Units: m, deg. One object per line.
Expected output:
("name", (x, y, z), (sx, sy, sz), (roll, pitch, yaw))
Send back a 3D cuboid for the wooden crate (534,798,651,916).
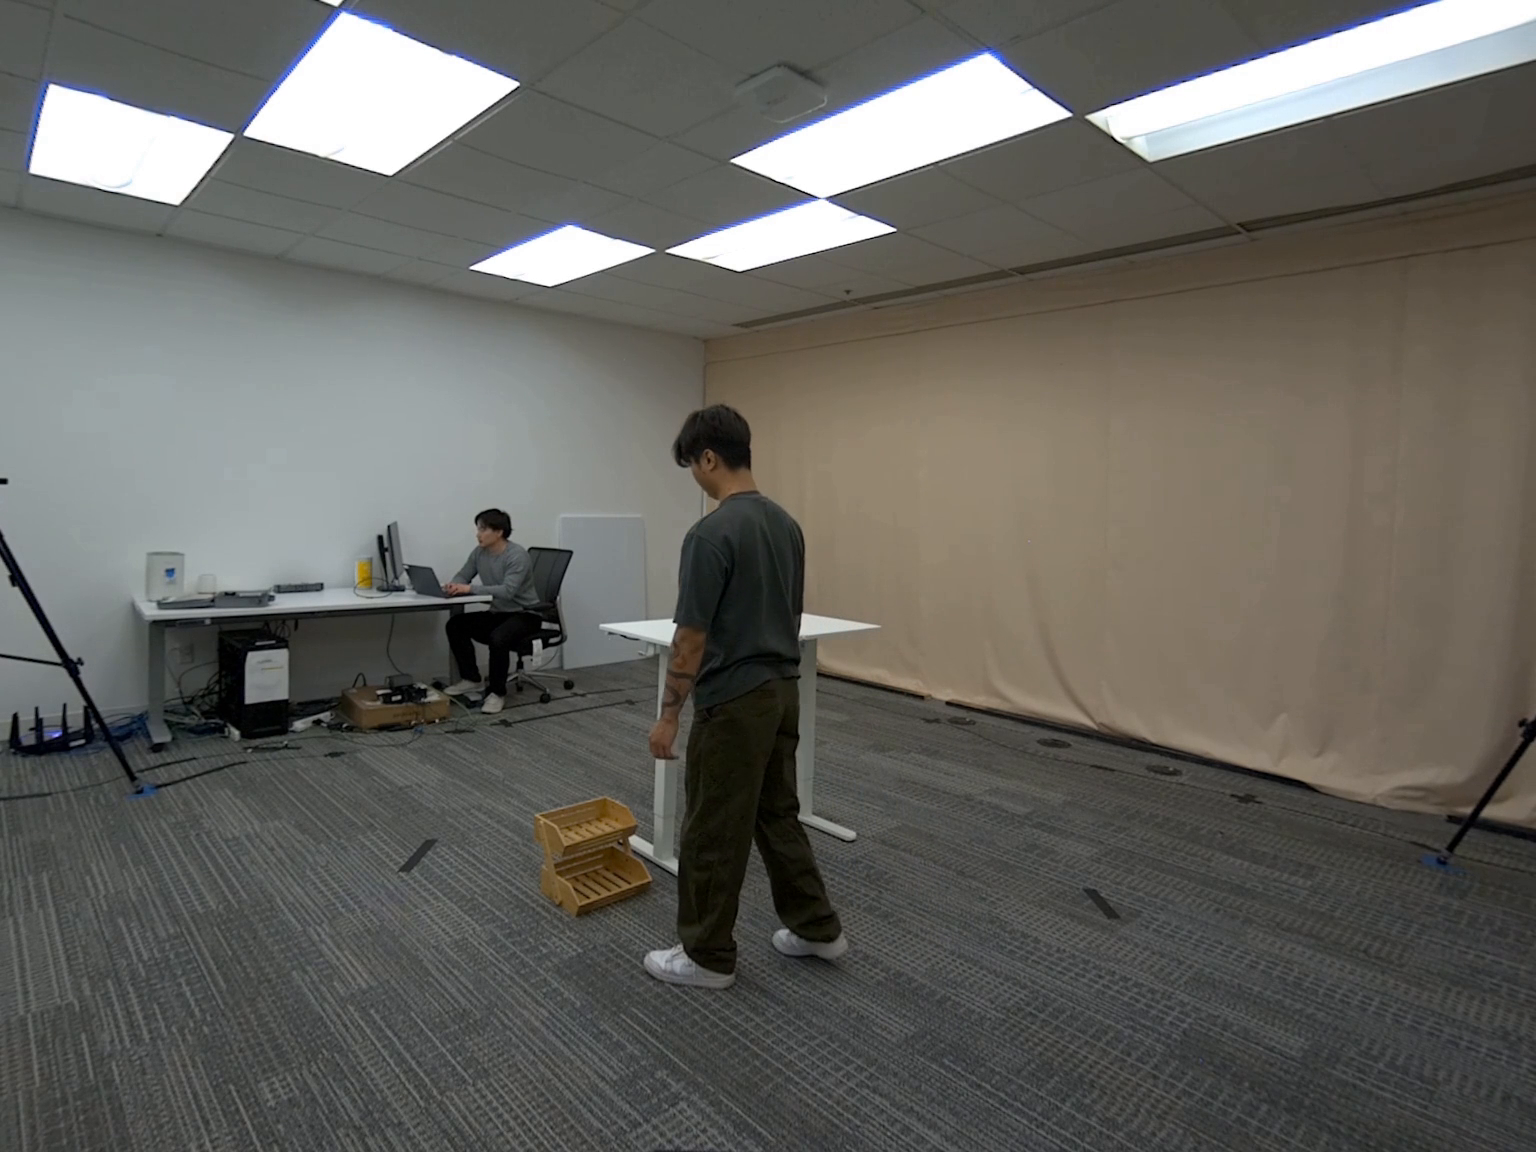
("wooden crate", (-0.622, 0.976, 2.966), (0.317, 0.273, 0.310), (-2, 5, -44))
